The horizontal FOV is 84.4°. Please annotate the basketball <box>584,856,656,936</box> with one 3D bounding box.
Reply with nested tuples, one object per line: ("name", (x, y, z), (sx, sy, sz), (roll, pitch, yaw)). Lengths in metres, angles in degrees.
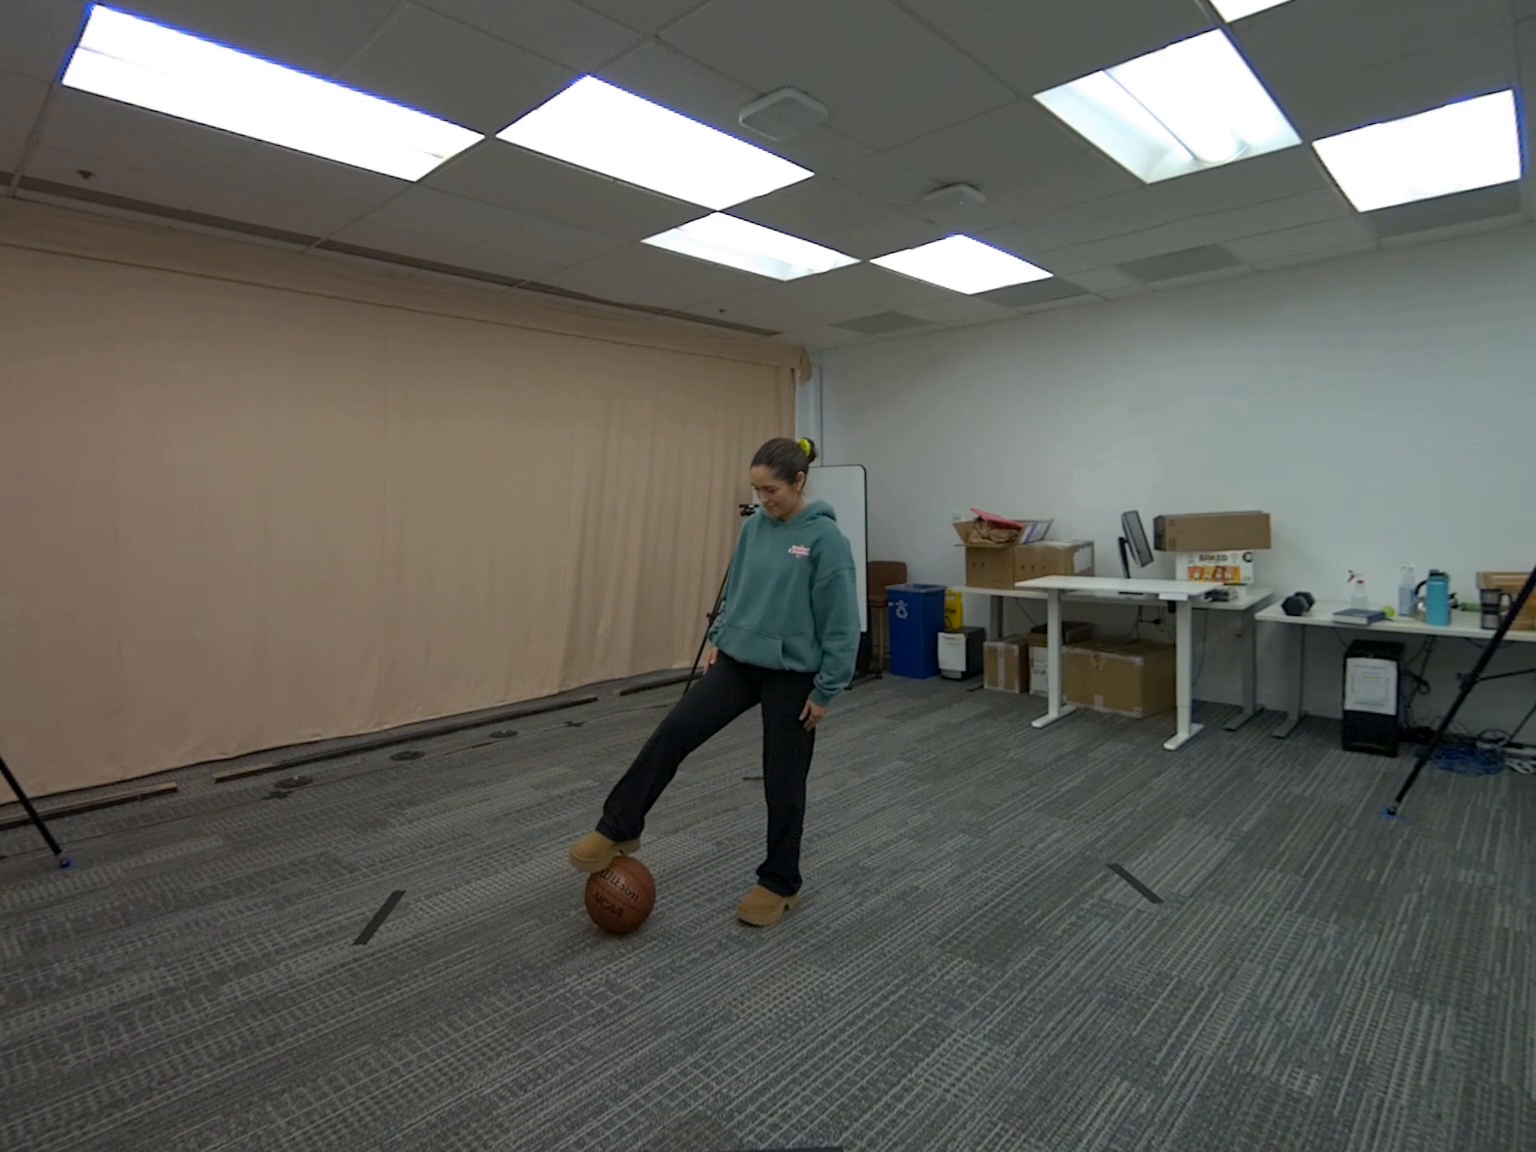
("basketball", (-0.478, 1.053, 2.782), (0.236, 0.235, 0.237), (-1, 4, -2))
